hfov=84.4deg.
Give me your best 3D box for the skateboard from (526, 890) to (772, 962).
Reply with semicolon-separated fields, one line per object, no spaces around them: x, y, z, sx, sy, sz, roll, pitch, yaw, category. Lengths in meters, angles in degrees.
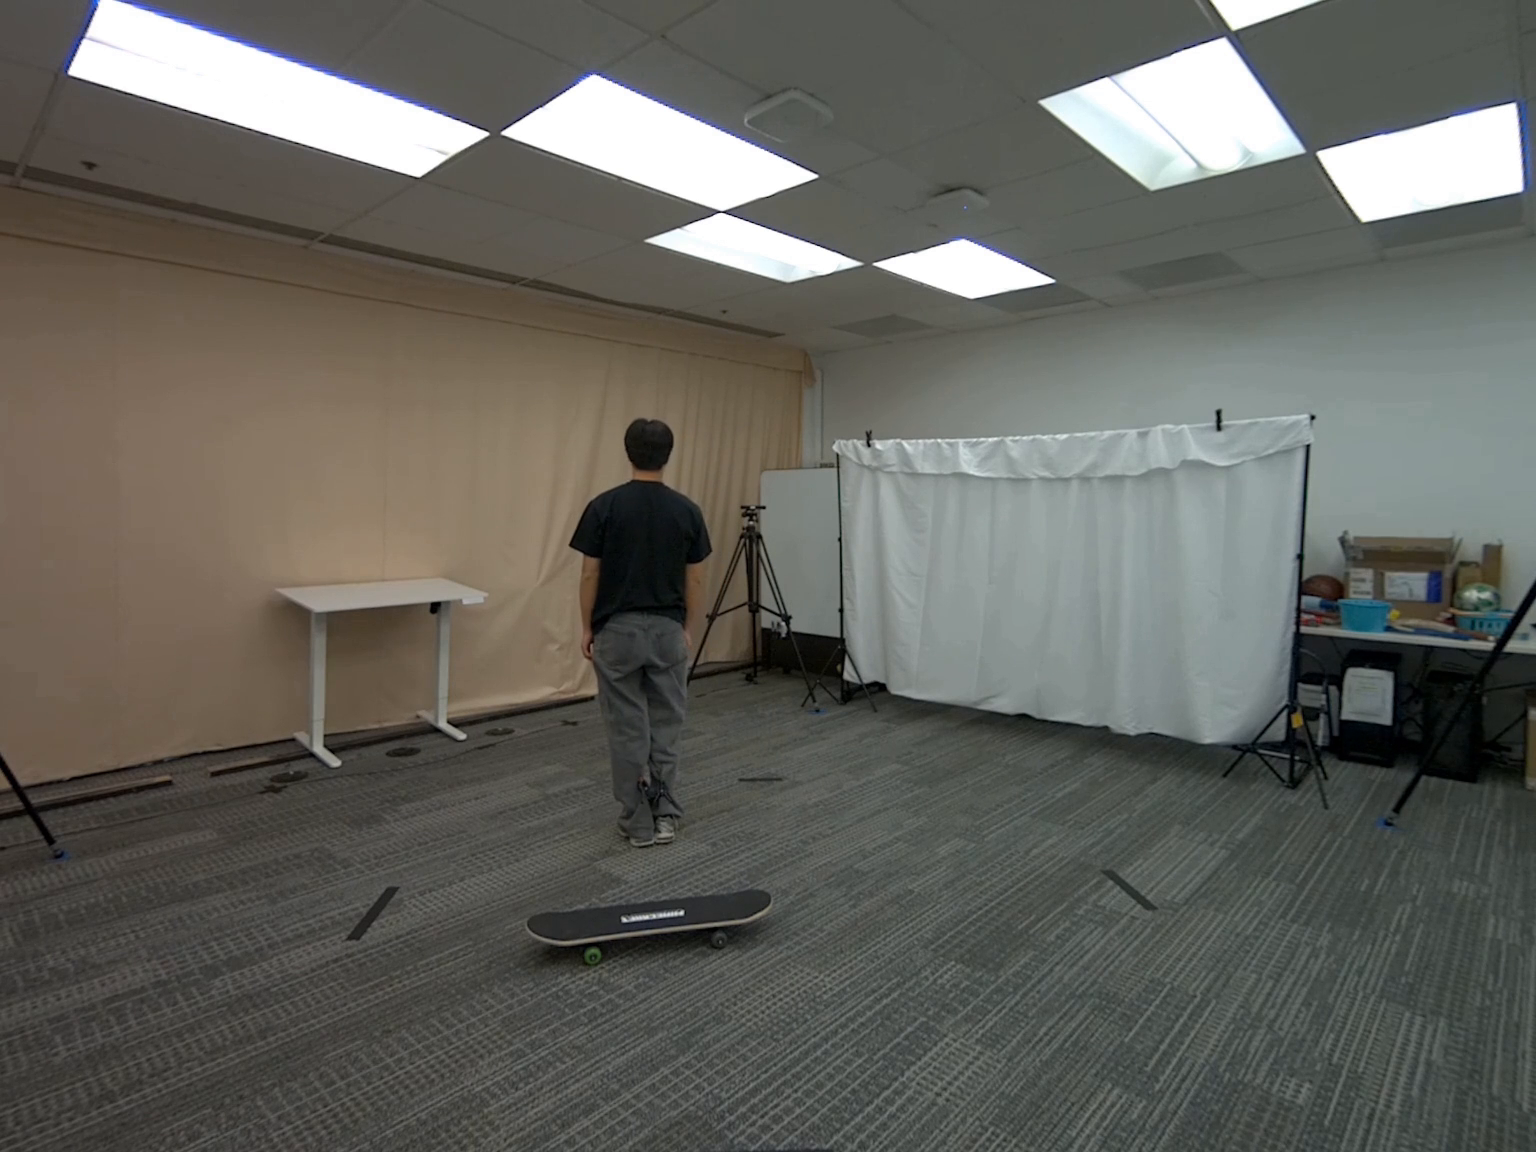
-0.364;1.116;2.680;0.775;0.110;0.196;-1;4;-13;skateboard
